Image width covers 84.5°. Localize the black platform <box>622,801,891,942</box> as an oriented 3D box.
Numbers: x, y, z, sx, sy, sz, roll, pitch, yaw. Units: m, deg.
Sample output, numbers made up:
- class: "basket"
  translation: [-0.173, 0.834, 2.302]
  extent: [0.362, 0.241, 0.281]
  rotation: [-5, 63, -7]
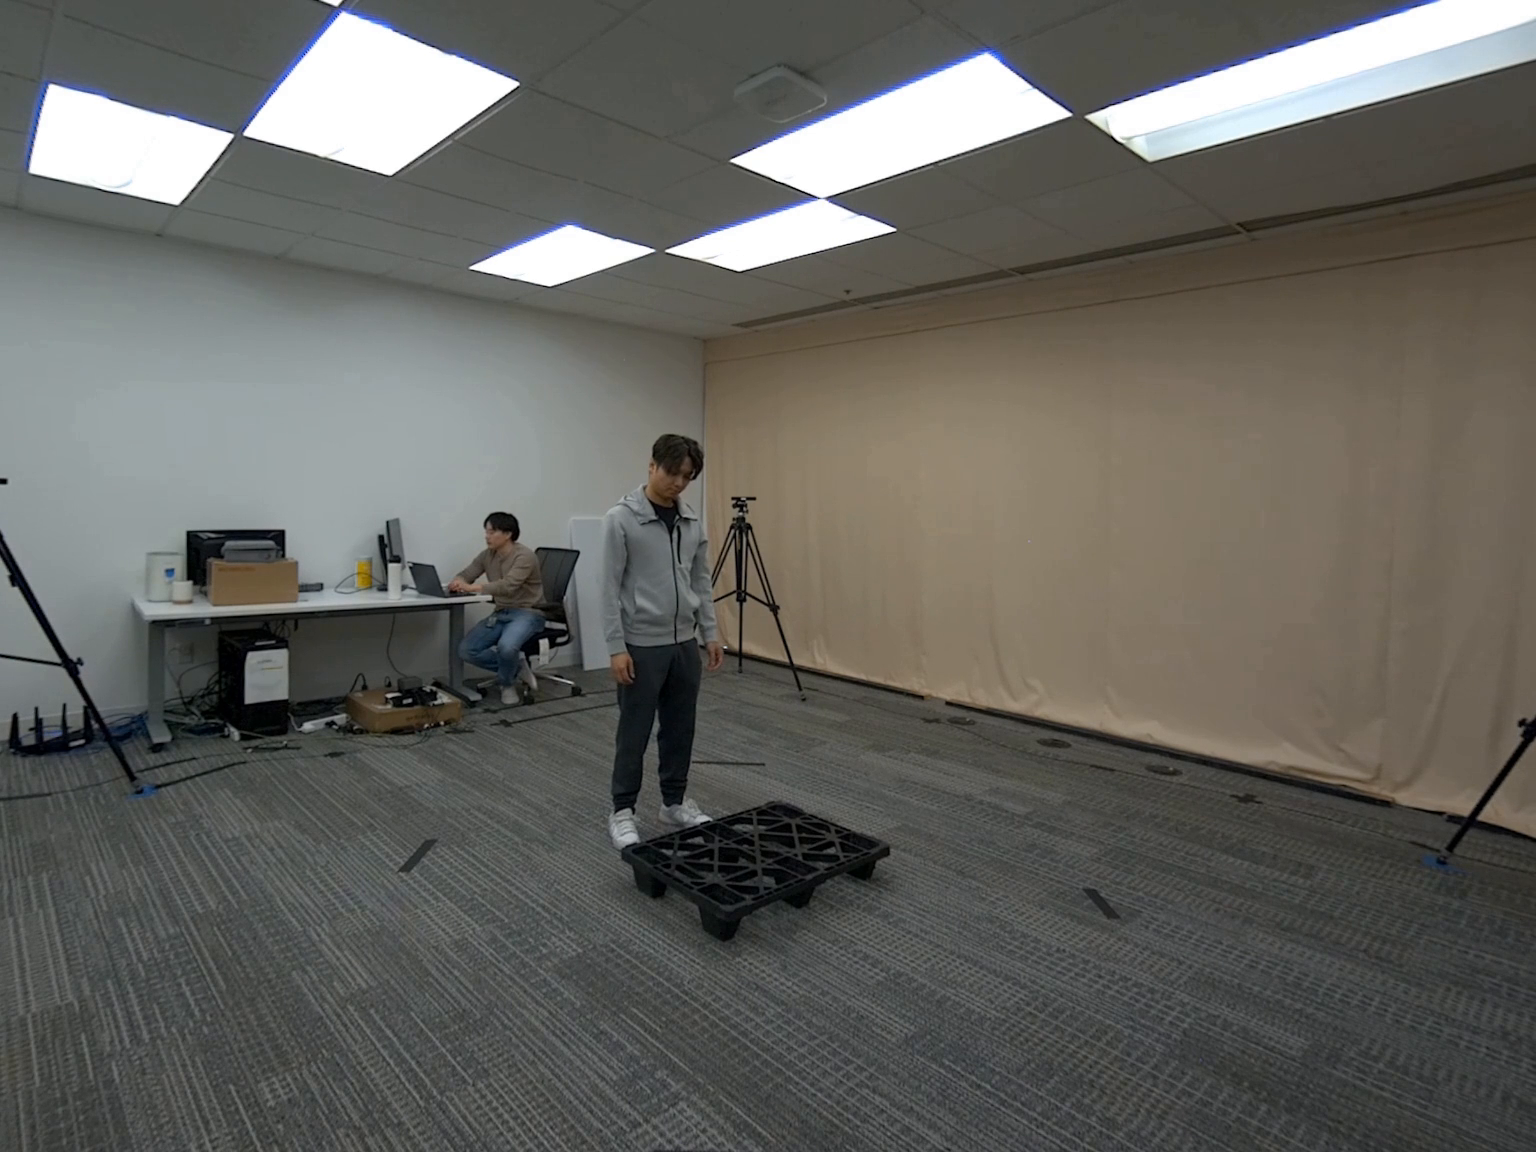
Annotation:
- class: "black platform"
  translation: [-0.050, 1.050, 3.047]
  extent: [0.787, 0.143, 0.620]
  rotation: [-3, 6, -43]
